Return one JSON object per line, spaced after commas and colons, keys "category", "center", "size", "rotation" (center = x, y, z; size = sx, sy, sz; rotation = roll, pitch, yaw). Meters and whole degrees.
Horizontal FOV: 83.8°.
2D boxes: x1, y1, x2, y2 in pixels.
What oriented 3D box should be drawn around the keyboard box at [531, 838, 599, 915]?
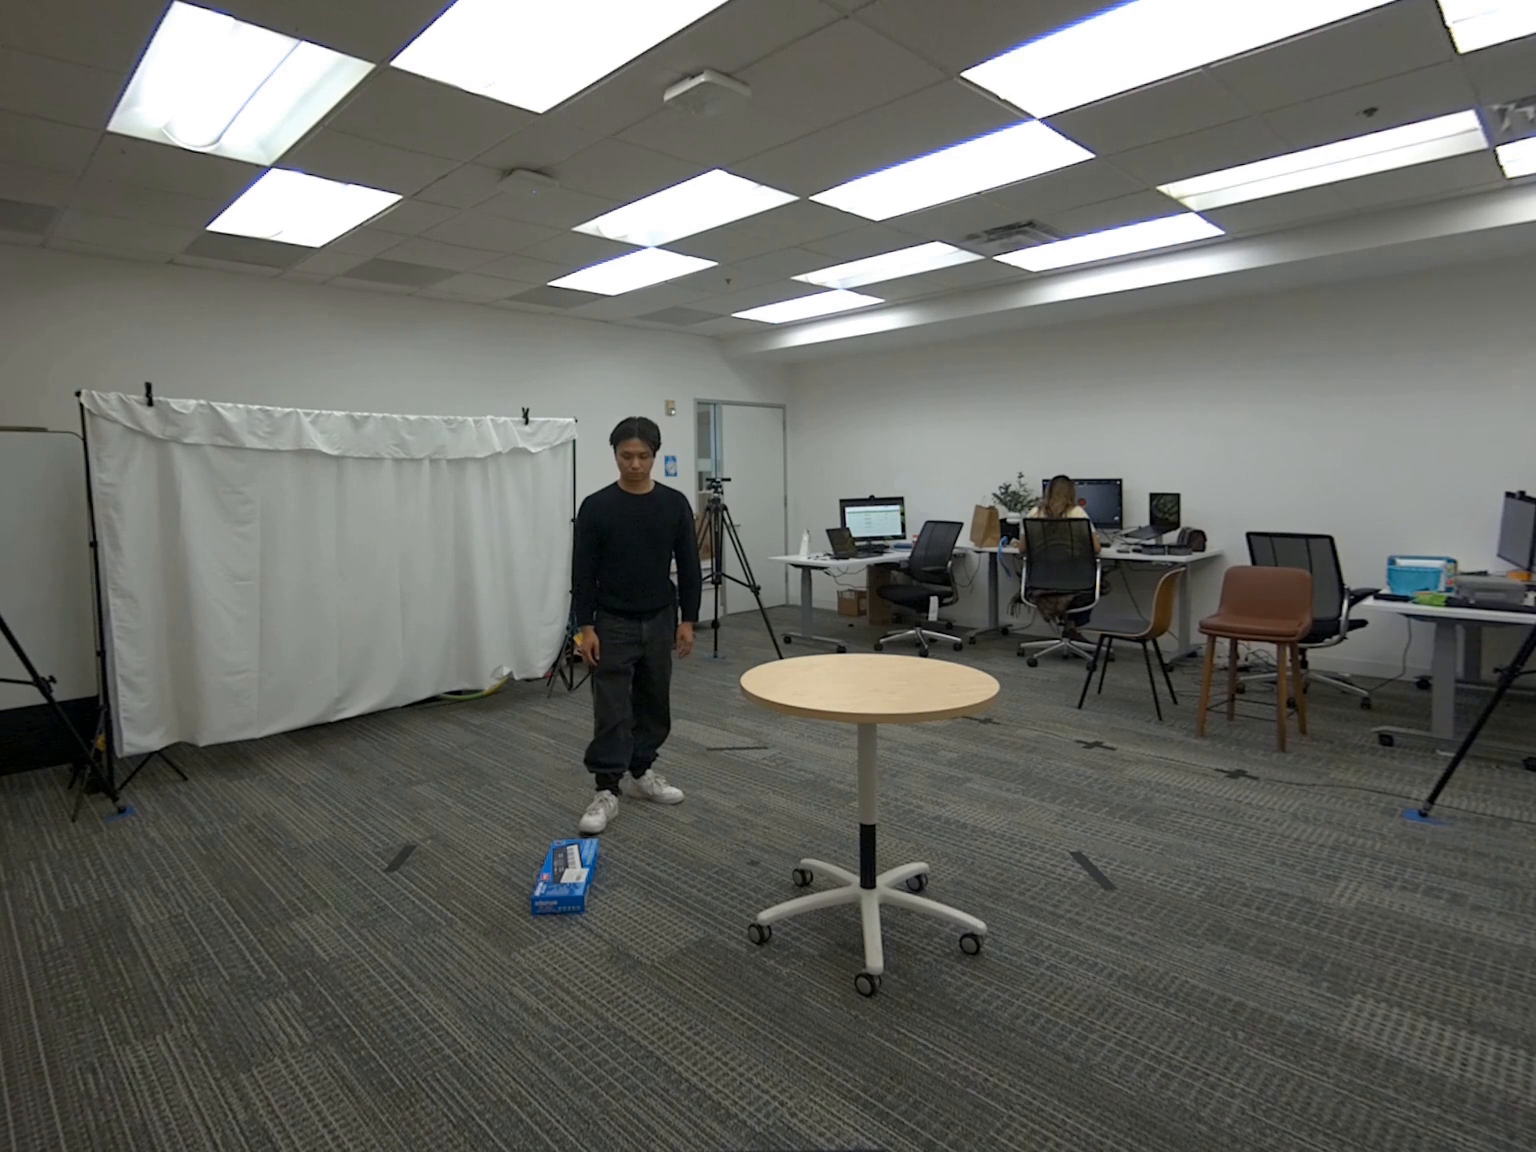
{"category": "keyboard box", "center": [-0.702, 1.045, 2.980], "size": [0.175, 0.059, 0.440], "rotation": [-2, 7, -4]}
